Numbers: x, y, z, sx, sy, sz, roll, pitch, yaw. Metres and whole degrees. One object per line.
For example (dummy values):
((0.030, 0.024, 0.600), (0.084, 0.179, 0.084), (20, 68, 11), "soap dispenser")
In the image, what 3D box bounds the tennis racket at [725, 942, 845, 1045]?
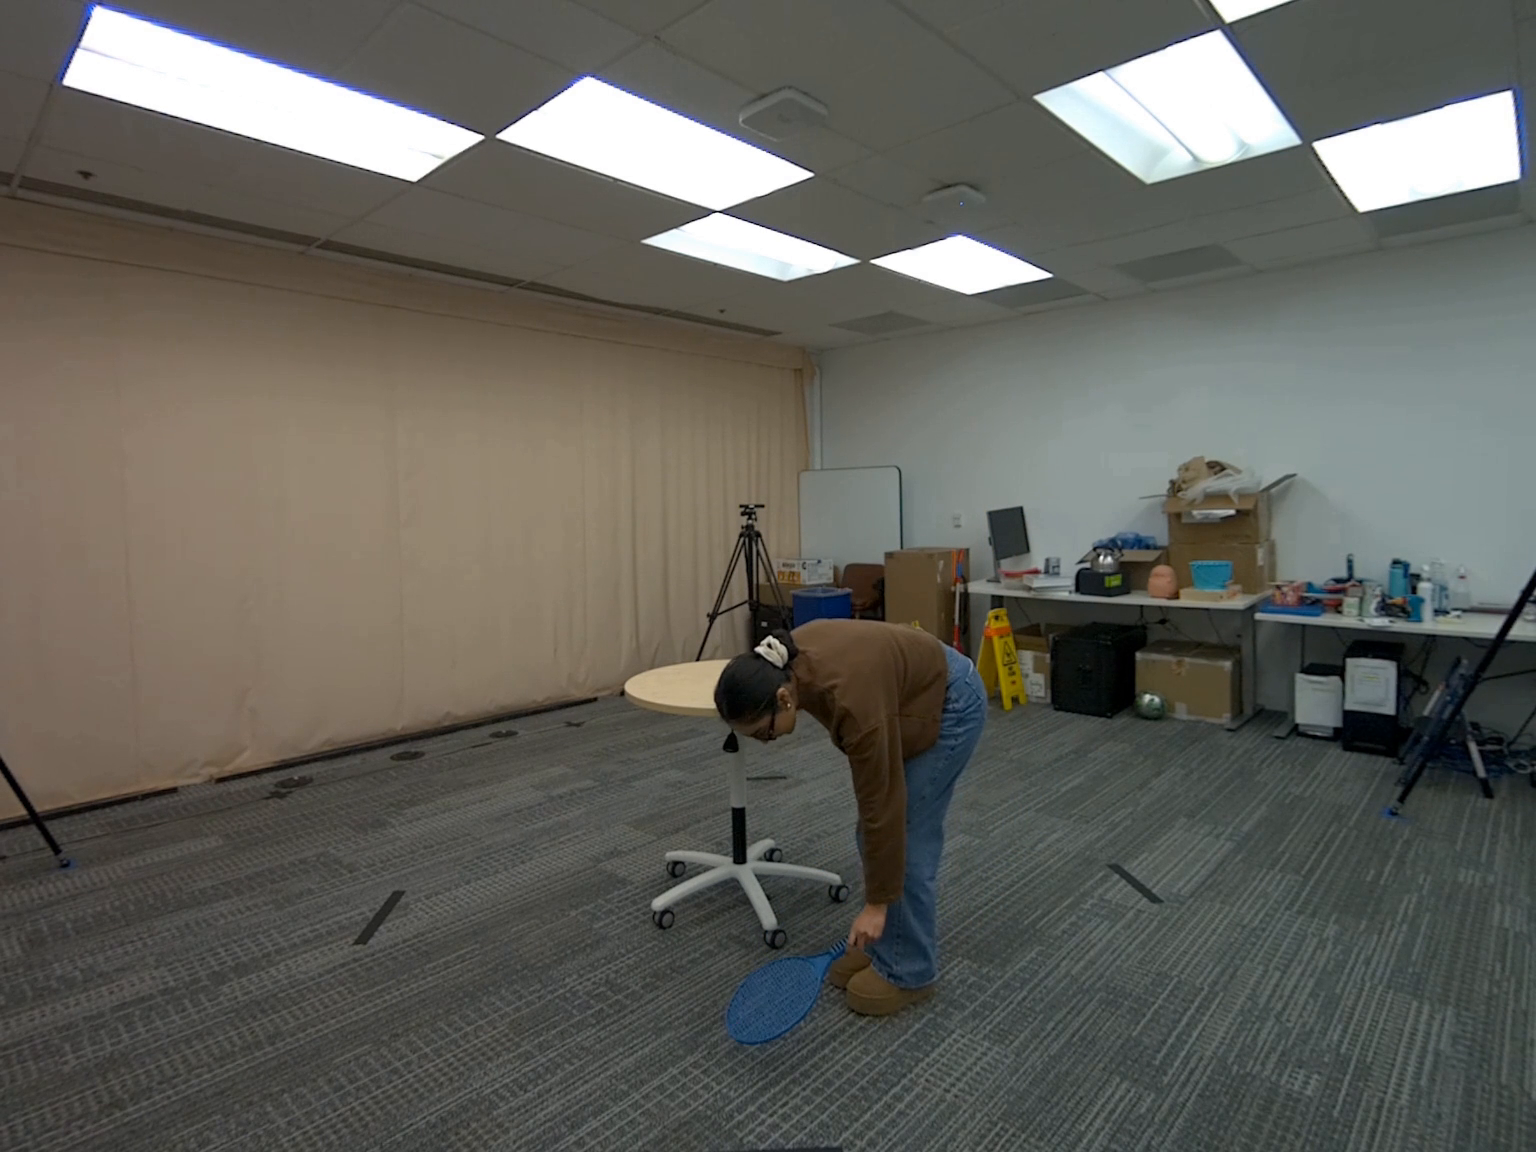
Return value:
((0.096, 0.999, 2.125), (0.429, 0.031, 0.220), (-33, 21, -16), "tennis racket")
